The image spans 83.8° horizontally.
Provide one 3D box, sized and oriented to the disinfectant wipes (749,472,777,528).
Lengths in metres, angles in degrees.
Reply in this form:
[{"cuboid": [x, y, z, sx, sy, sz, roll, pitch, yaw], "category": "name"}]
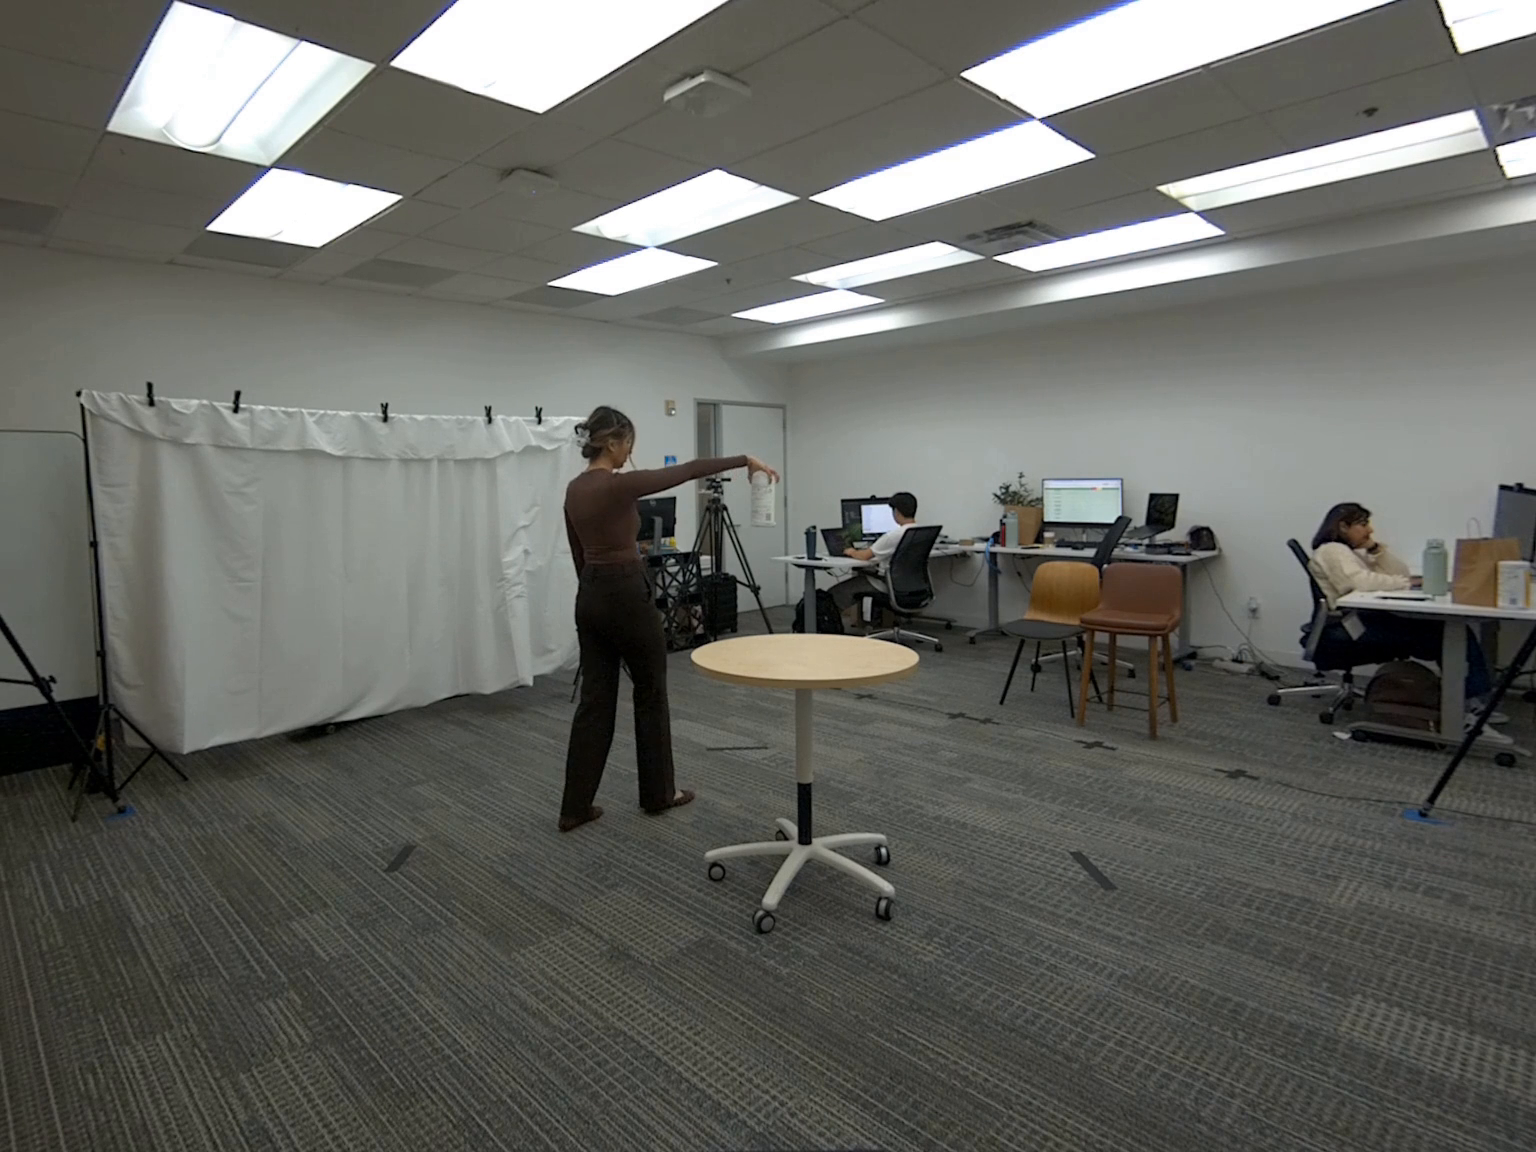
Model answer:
[{"cuboid": [-0.020, -0.318, 3.641, 0.118, 0.216, 0.118, 2, 6, -2], "category": "disinfectant wipes"}]
